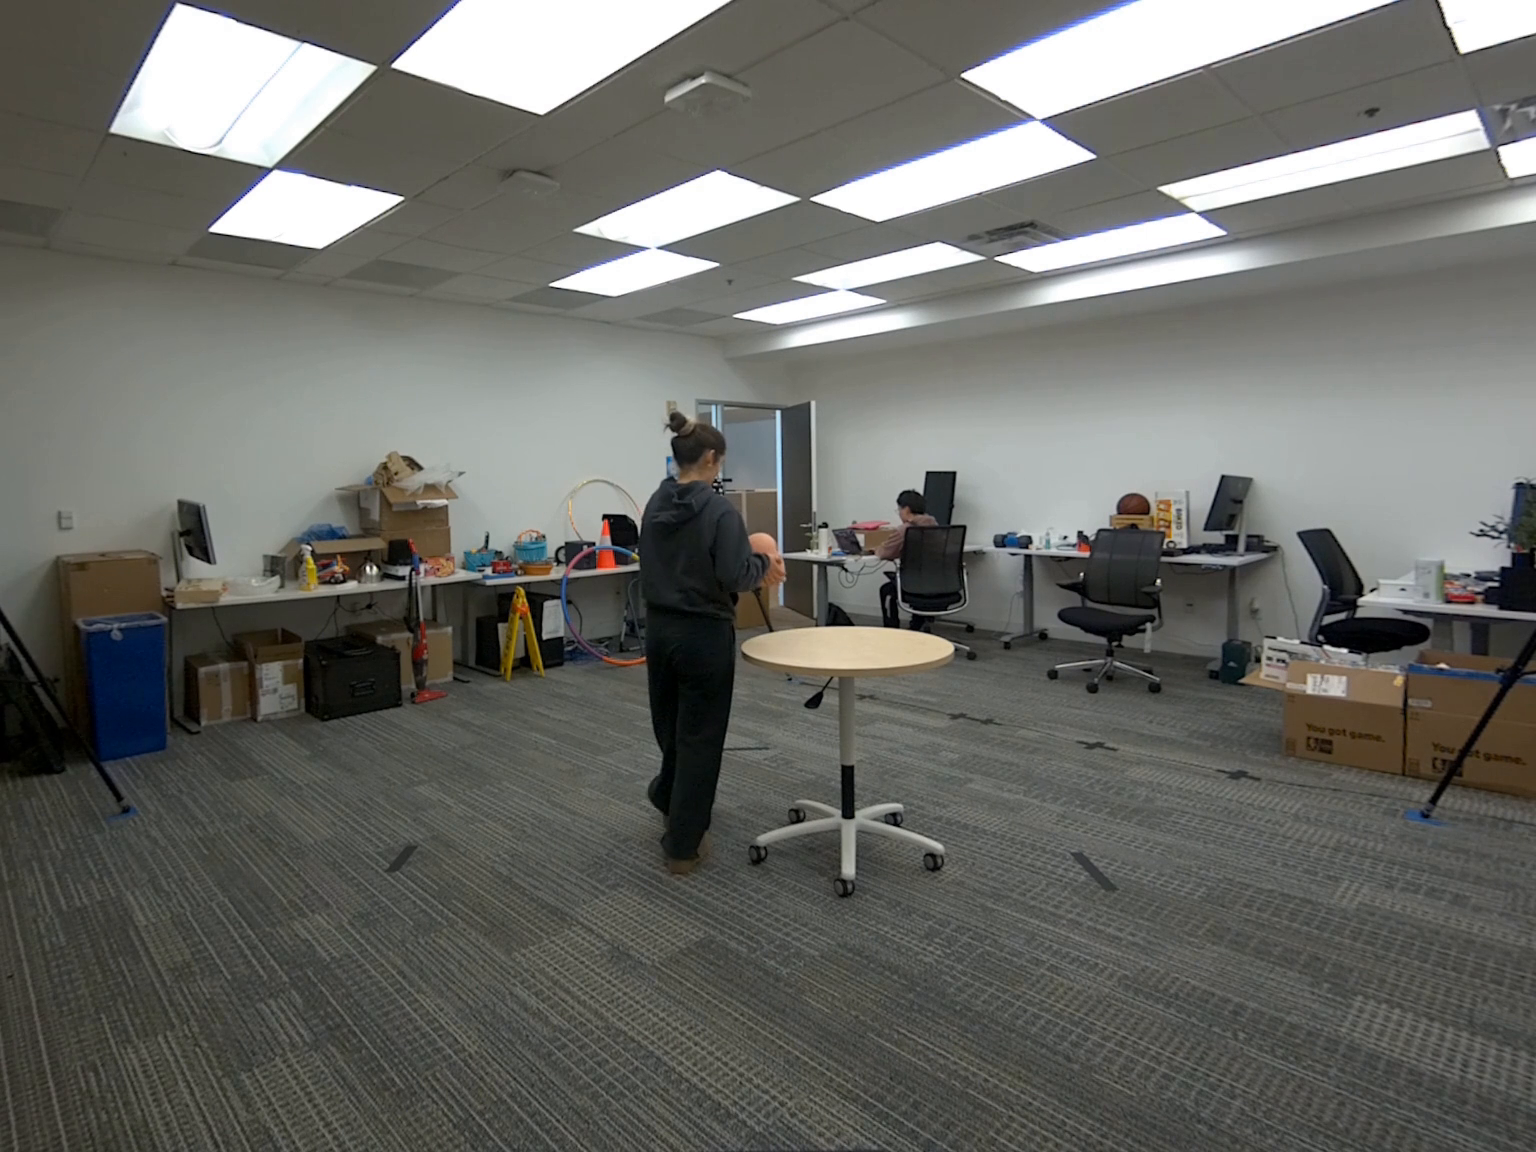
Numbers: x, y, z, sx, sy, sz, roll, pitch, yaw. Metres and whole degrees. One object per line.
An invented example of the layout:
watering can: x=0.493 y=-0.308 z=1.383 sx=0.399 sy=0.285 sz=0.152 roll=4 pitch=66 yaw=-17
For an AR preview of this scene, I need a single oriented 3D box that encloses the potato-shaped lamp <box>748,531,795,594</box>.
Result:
potato-shaped lamp: x=-0.024 y=-0.058 z=3.242 sx=0.168 sy=0.196 sz=0.169 roll=-8 pitch=10 yaw=-30
